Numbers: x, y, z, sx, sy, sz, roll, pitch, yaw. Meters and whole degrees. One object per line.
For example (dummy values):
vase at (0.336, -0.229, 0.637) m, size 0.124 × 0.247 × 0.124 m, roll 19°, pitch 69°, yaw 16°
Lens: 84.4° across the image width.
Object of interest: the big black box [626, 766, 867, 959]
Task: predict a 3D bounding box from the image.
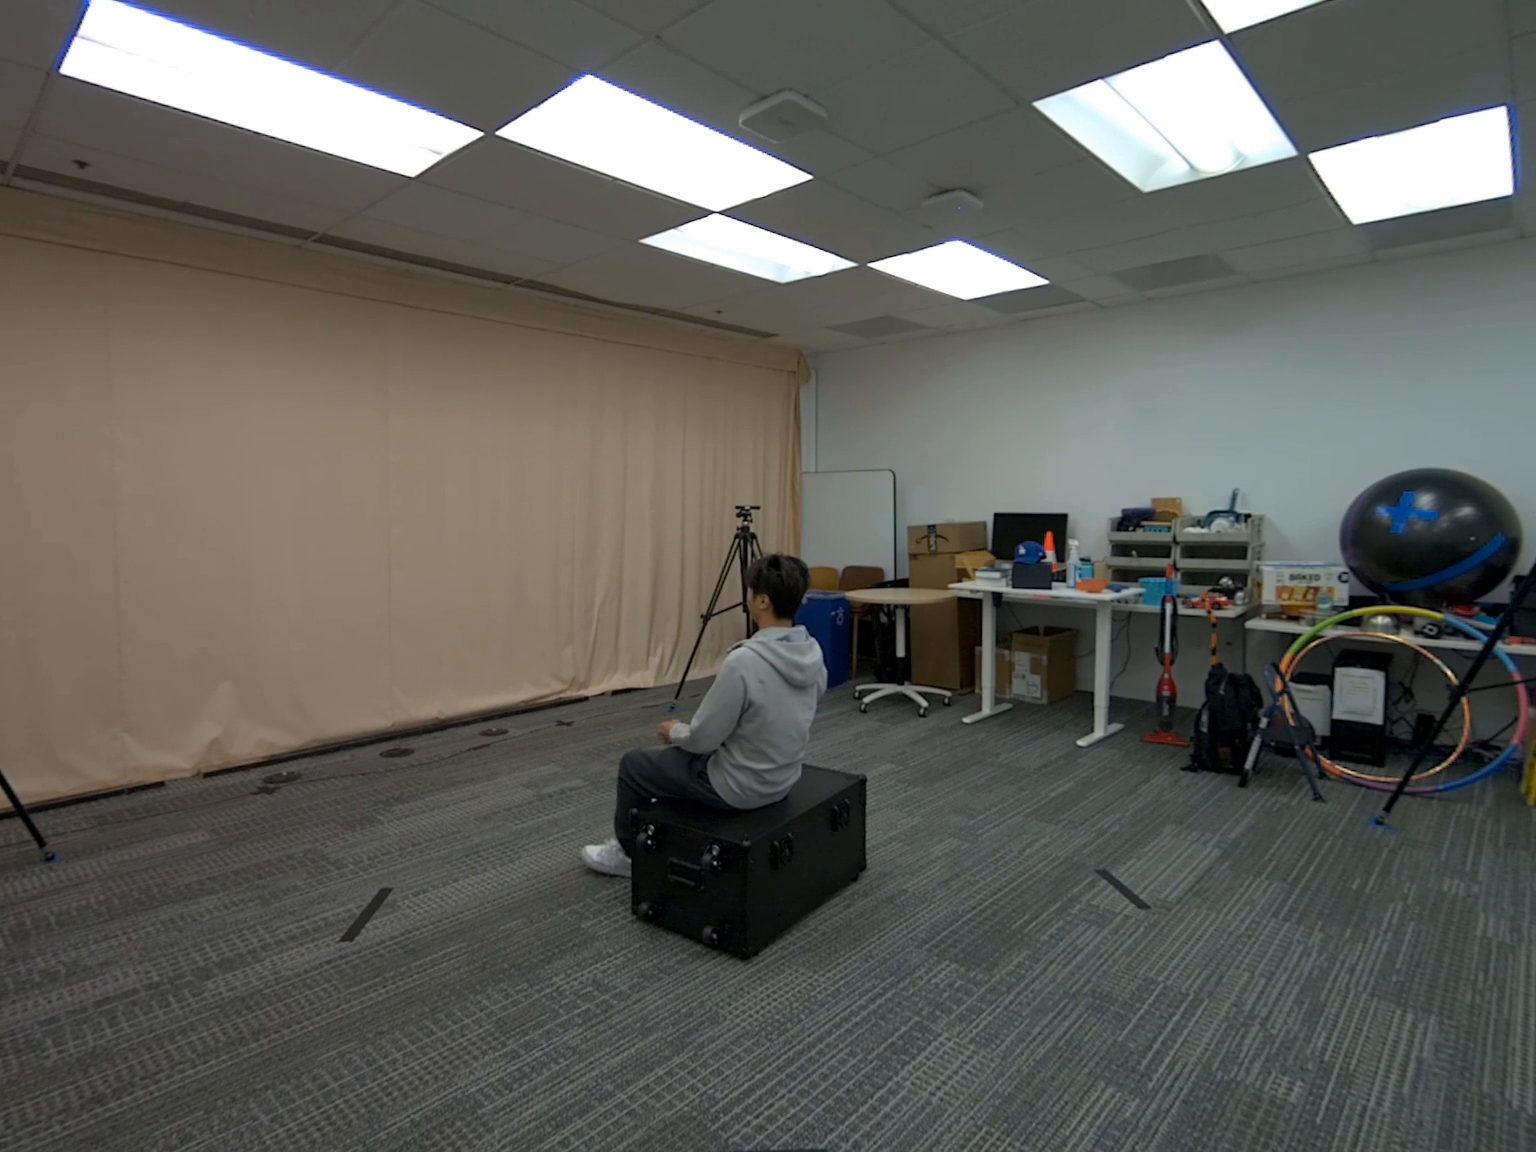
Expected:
big black box at (-0.019, 0.958, 3.011) m, size 0.538 × 0.395 × 0.837 m, roll 3°, pitch 6°, yaw 35°
